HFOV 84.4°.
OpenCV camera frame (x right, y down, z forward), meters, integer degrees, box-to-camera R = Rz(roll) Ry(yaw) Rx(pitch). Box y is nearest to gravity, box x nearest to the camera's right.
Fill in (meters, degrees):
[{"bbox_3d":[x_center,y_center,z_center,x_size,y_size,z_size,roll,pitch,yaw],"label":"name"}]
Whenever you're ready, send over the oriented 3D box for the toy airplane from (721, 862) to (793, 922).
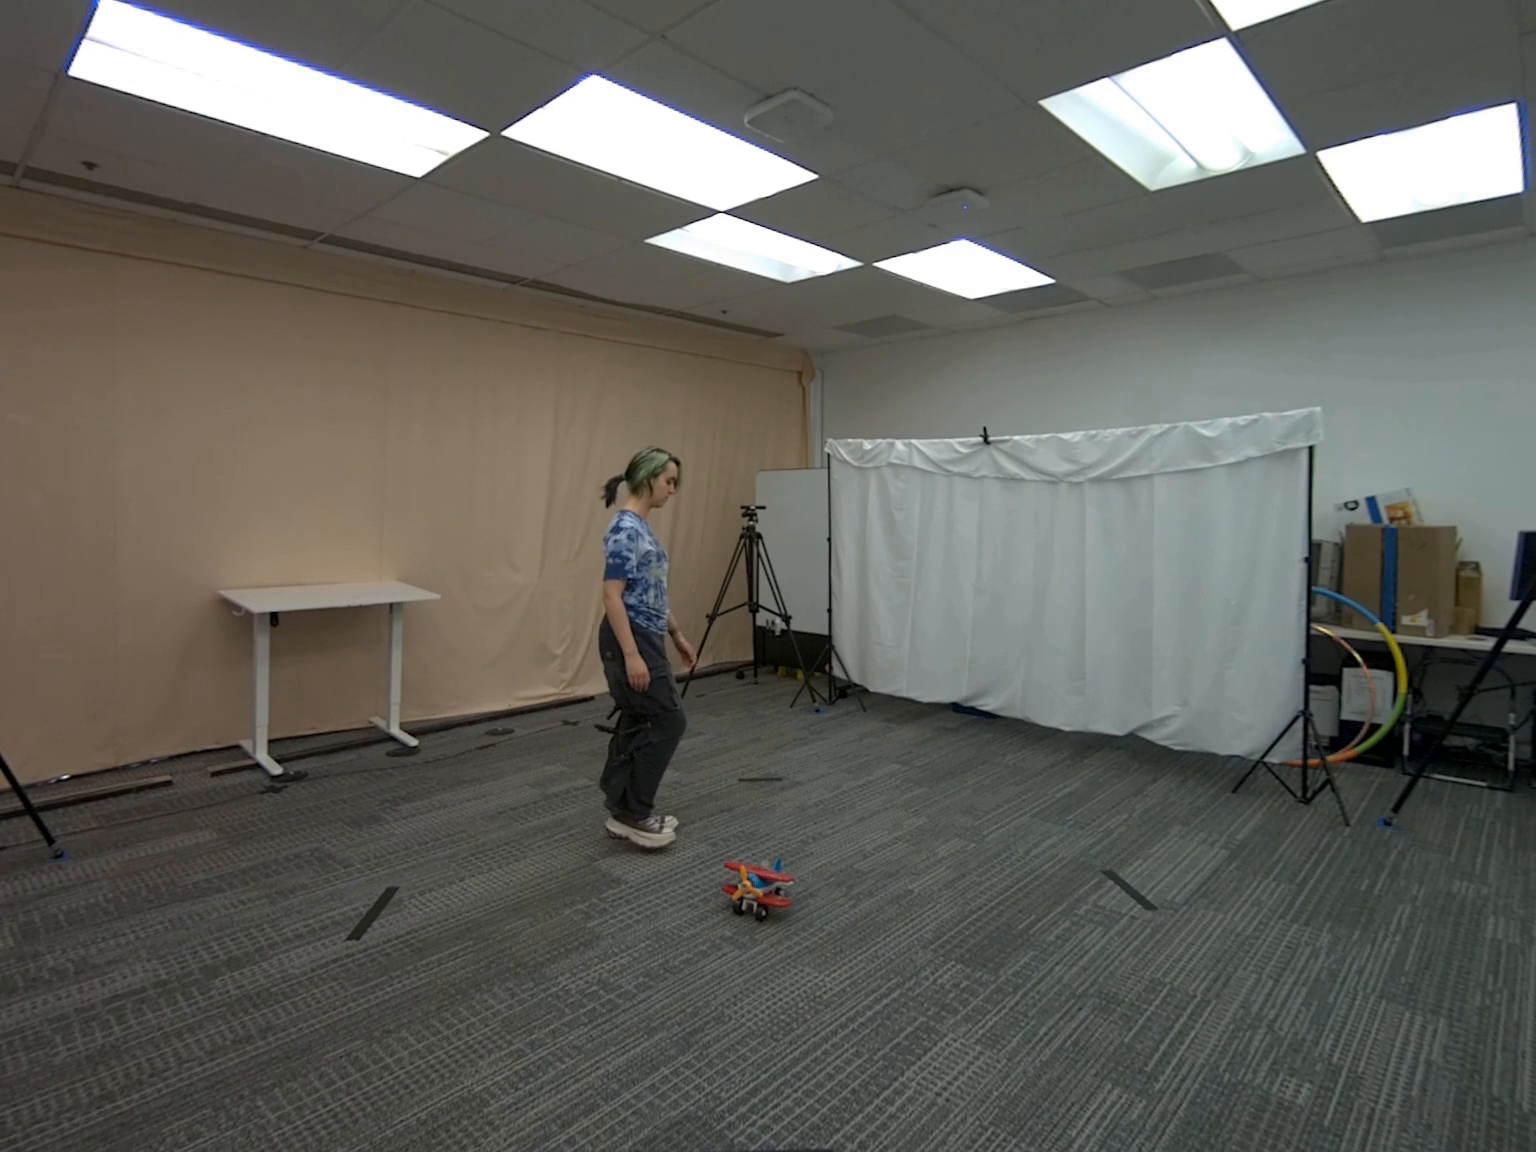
[{"bbox_3d":[-0.033,1.072,2.926,0.252,0.156,0.259,0,6,2],"label":"toy airplane"}]
